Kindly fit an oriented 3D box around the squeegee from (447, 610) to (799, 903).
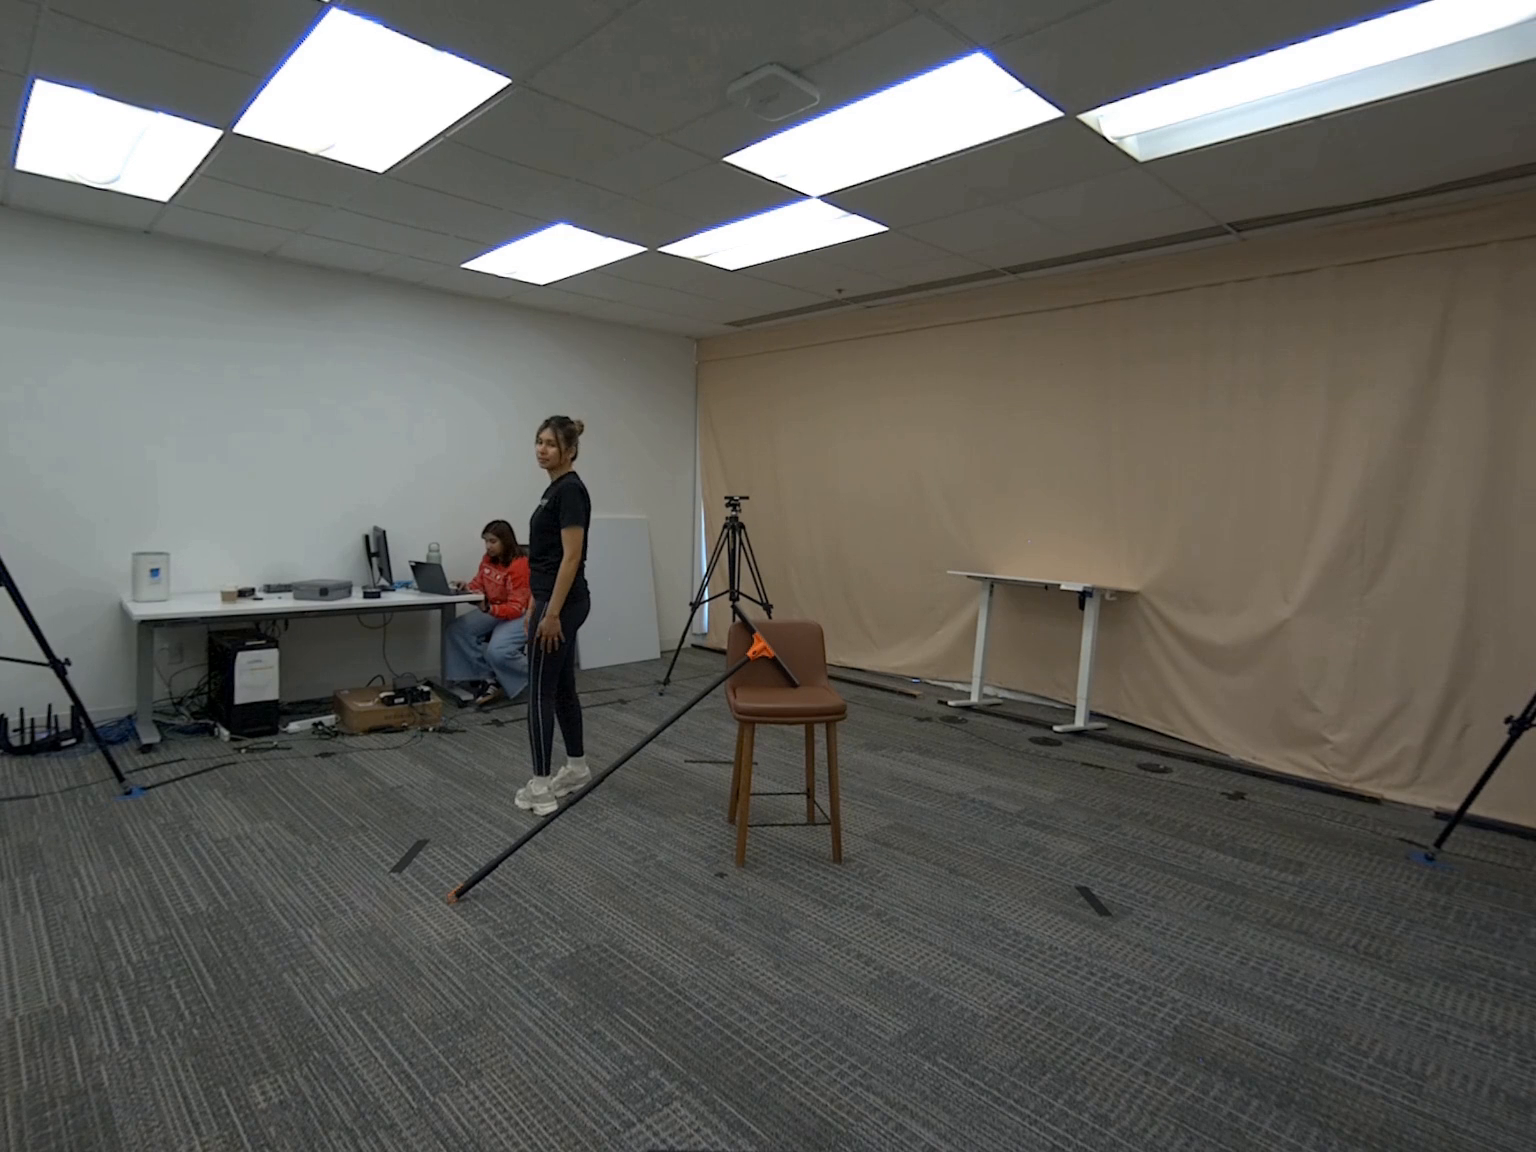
[{"bbox_3d":[-0.528,0.680,3.172,1.530,0.438,0.053,-37,-2,-28],"label":"squeegee"}]
